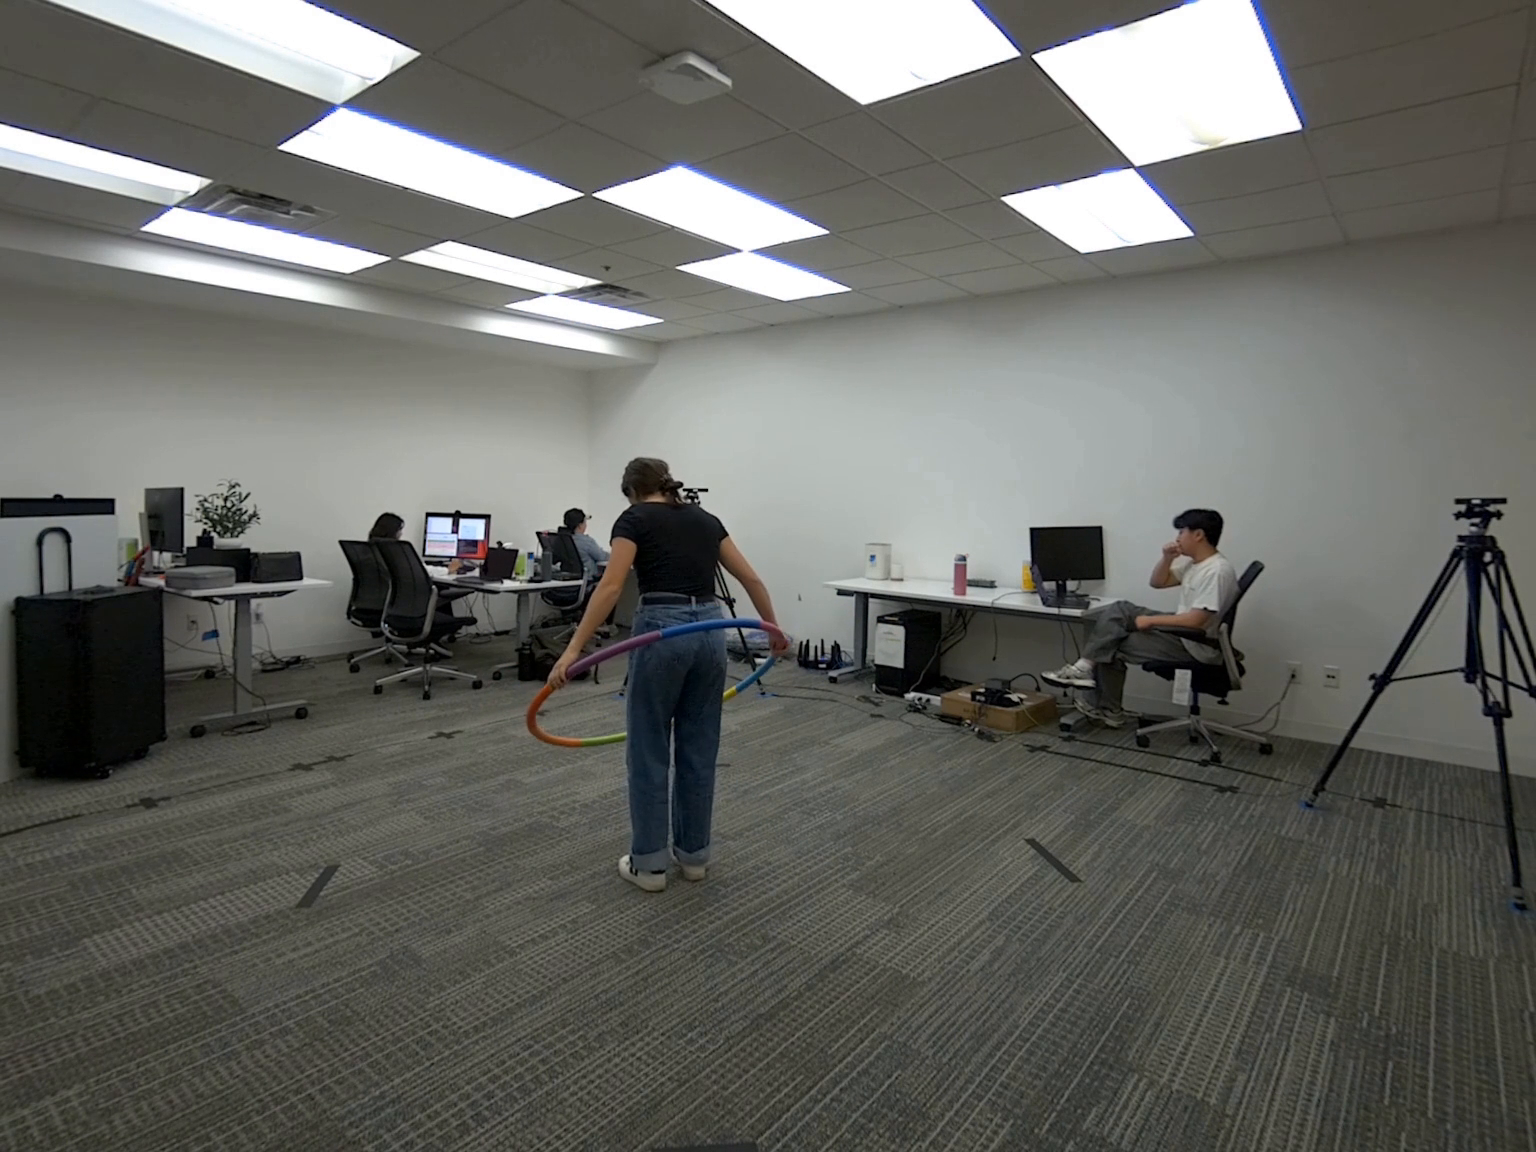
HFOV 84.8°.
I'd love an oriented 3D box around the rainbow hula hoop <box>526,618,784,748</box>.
[{"bbox_3d":[-0.413,0.399,3.136,0.971,0.036,0.956,-18,-25,-11],"label":"rainbow hula hoop"}]
